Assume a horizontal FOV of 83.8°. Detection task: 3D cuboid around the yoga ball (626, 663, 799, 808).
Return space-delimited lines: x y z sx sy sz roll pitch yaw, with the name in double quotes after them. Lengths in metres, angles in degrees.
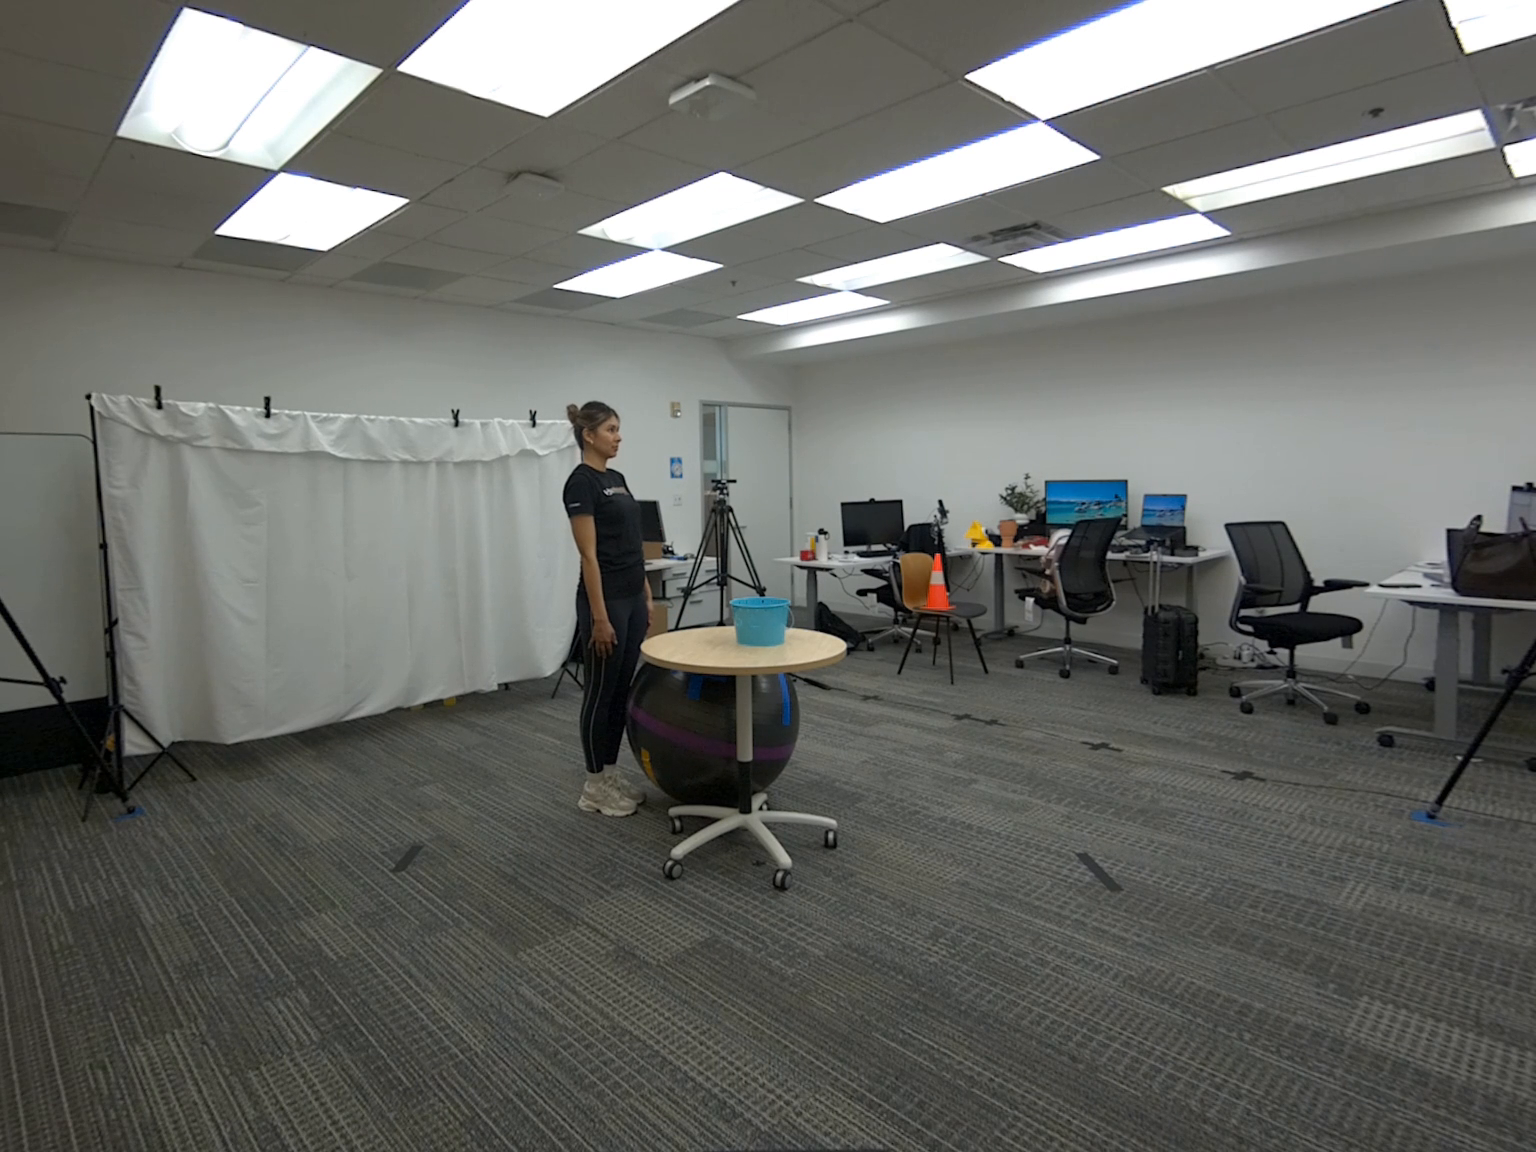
-0.240 0.619 3.728 0.757 0.755 0.762 -1 5 -2 "yoga ball"
